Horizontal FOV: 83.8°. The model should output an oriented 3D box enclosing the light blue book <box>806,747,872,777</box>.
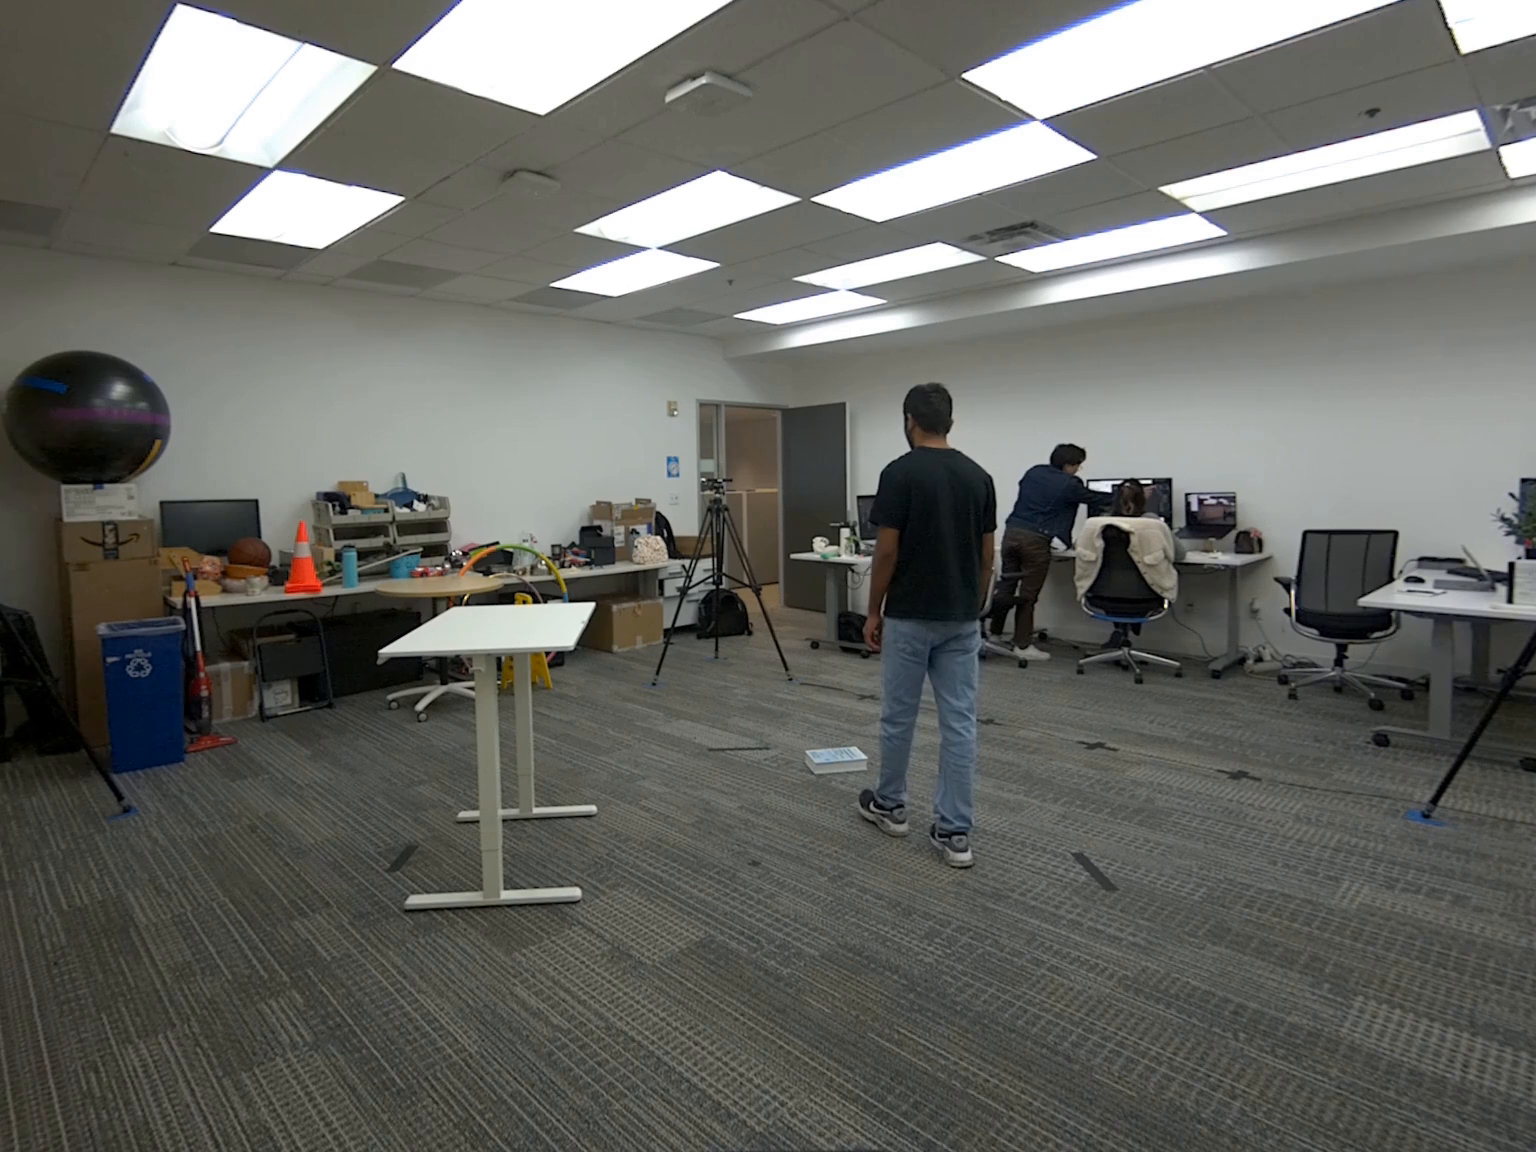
[{"bbox_3d":[0.339,0.895,4.146,0.258,0.059,0.194,-3,7,-11],"label":"light blue book"}]
